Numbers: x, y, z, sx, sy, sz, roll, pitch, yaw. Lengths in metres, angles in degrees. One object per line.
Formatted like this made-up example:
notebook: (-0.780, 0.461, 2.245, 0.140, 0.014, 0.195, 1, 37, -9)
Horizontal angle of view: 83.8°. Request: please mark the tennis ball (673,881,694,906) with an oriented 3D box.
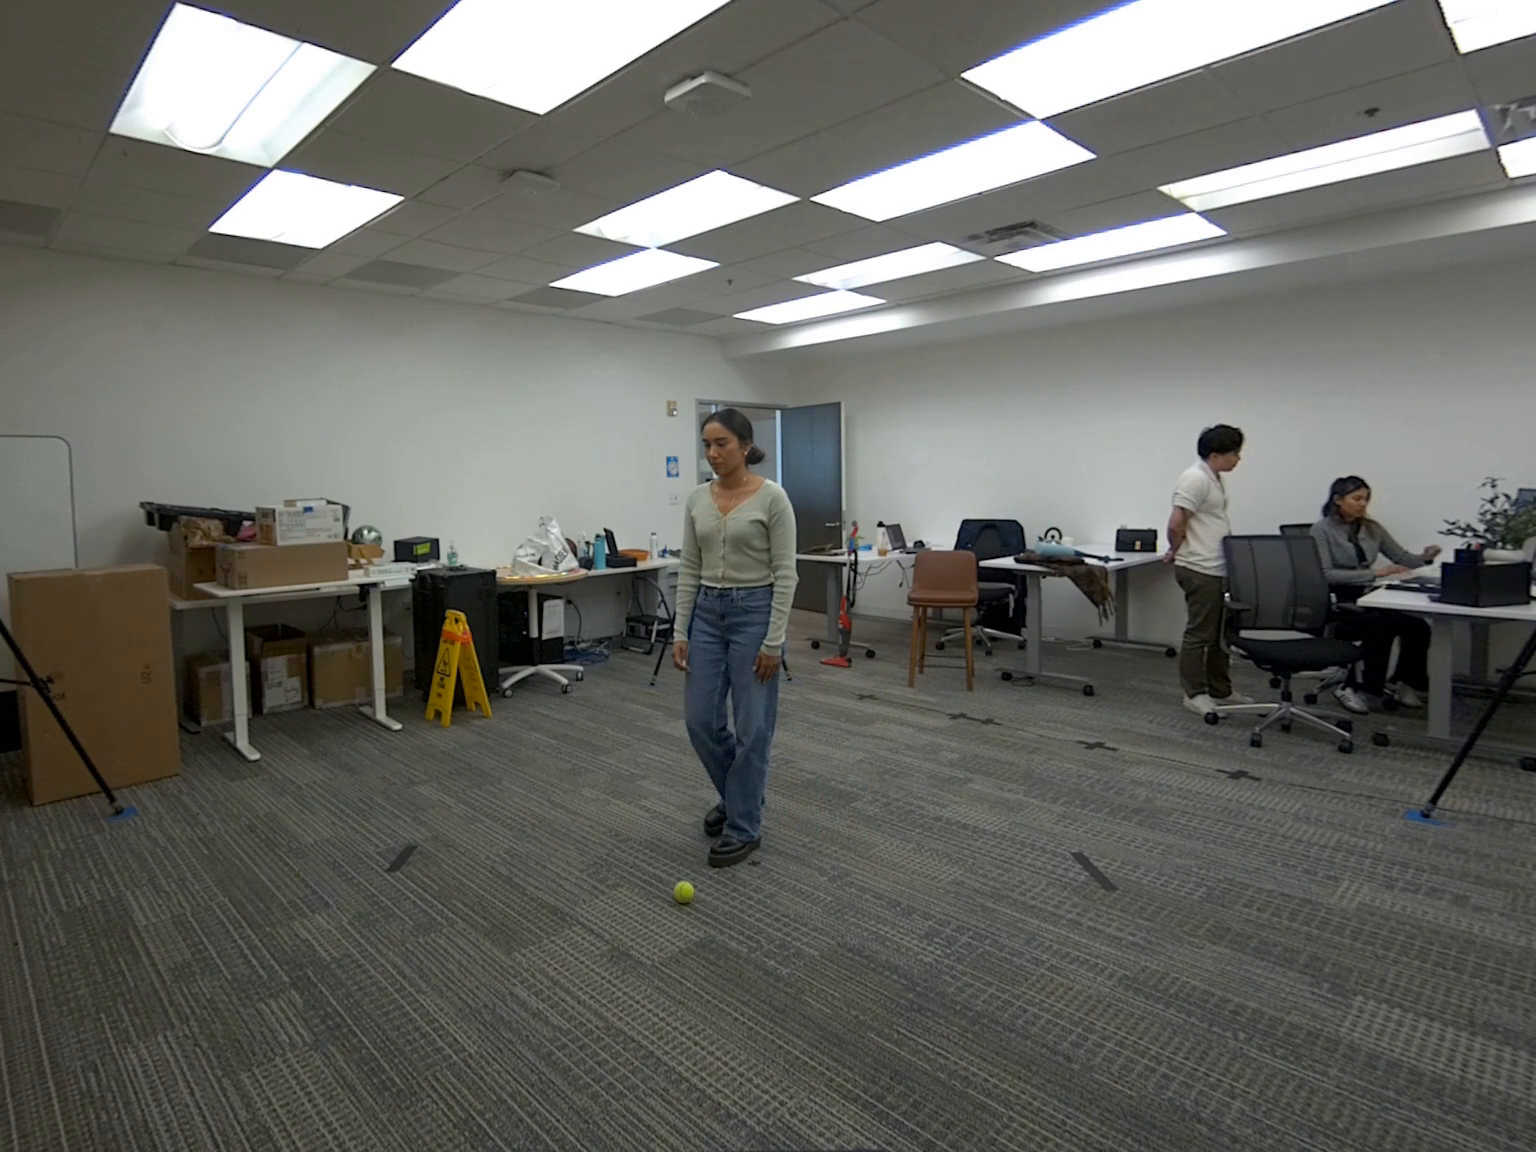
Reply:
tennis ball: (-0.275, 1.031, 2.823, 0.066, 0.066, 0.067, -1, 5, -2)
